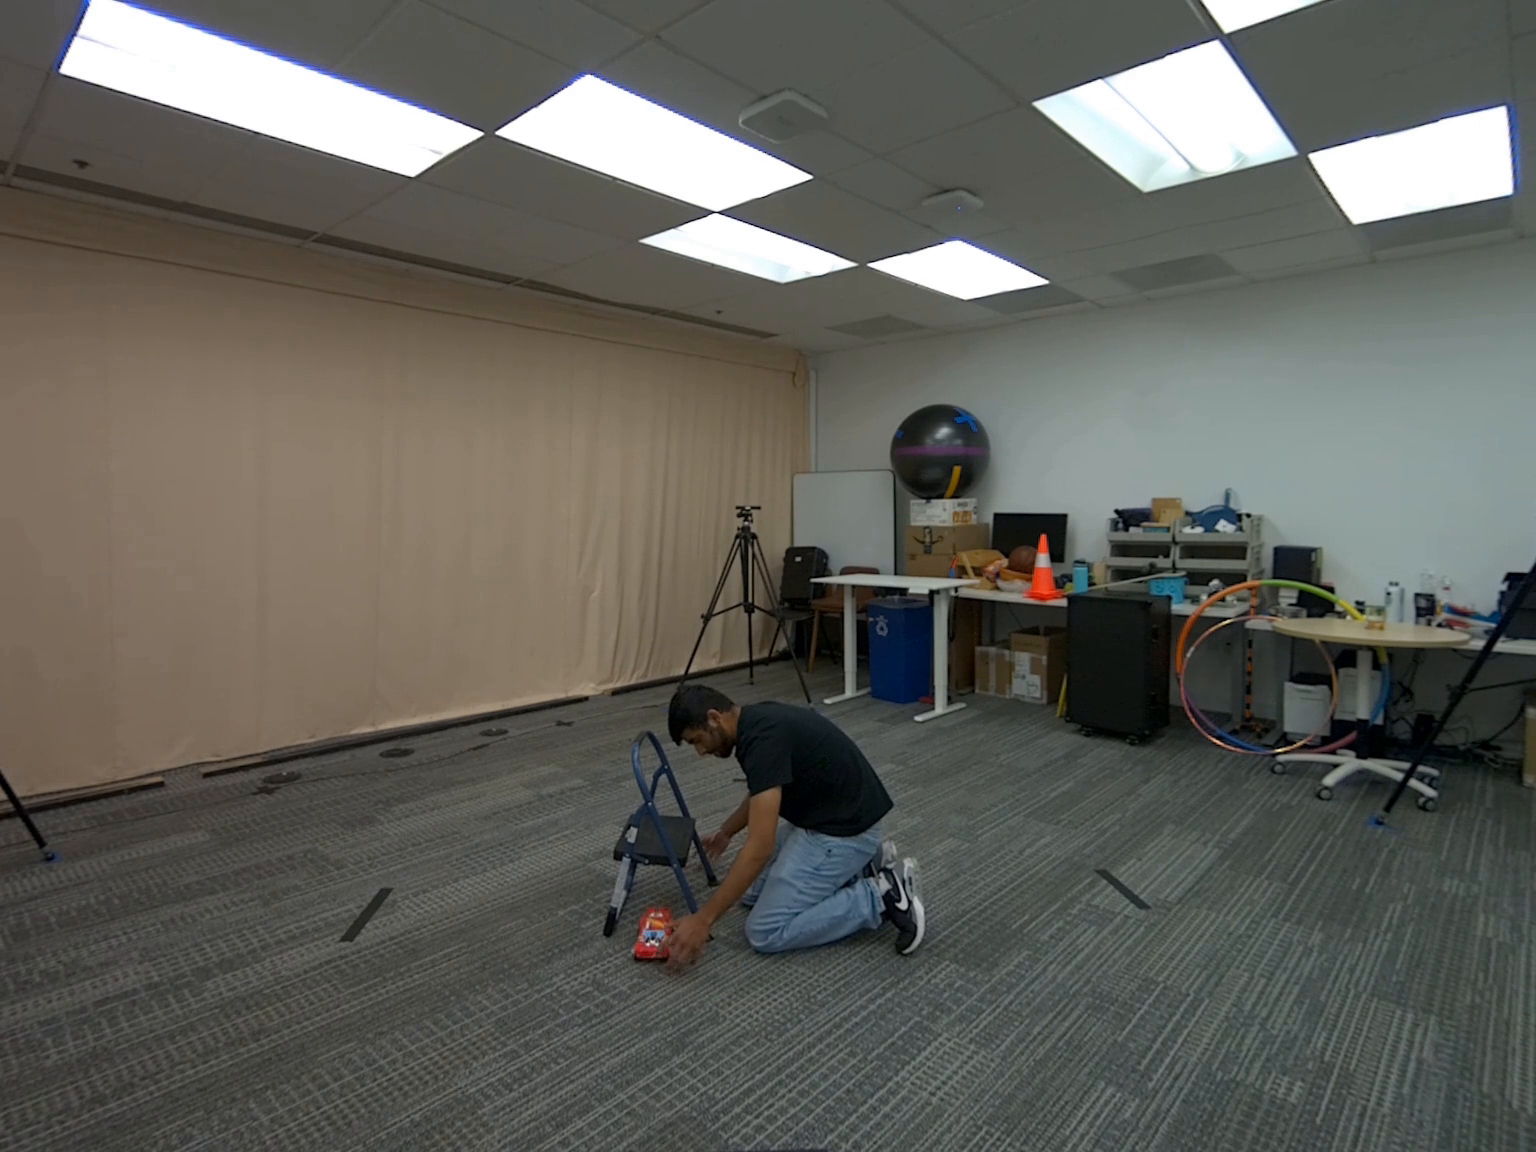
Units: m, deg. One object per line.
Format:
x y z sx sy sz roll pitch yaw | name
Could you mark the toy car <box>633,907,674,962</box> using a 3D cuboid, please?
-0.363 1.148 2.690 0.131 0.082 0.256 0 18 2 | toy car
